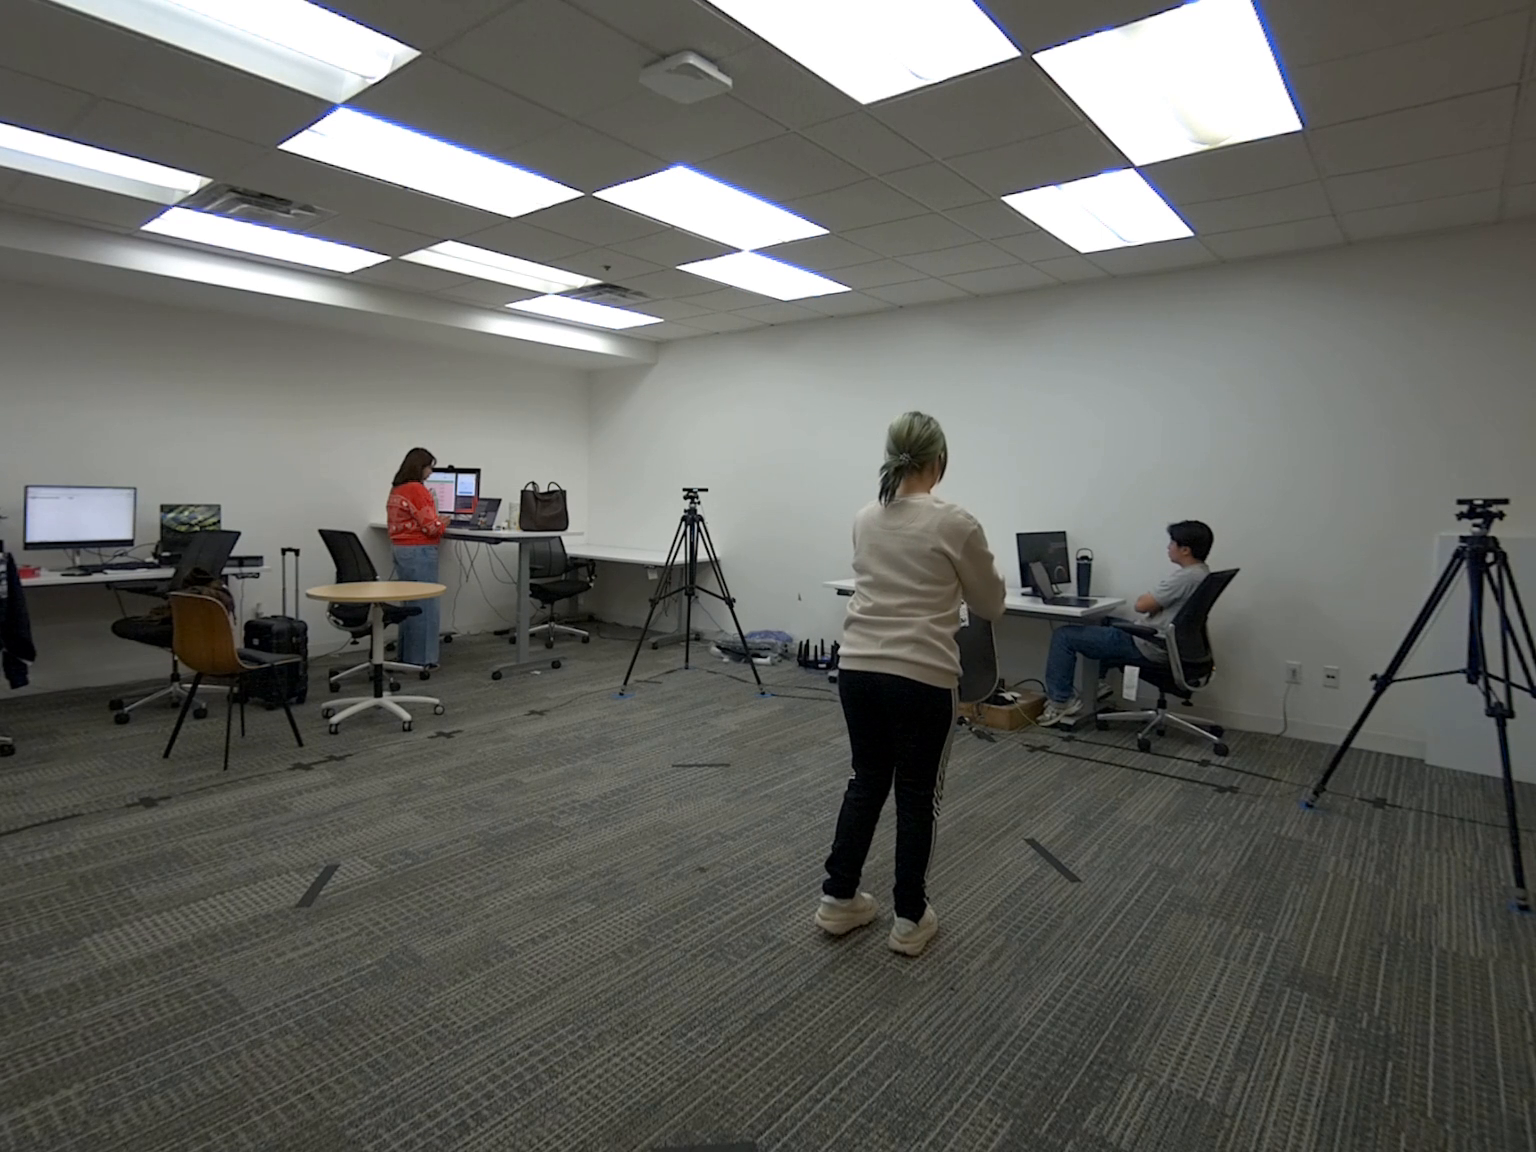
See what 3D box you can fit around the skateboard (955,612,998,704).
[{"bbox_3d":[0.685,0.107,3.056,0.196,0.807,0.106,-14,-36,18],"label":"skateboard"}]
